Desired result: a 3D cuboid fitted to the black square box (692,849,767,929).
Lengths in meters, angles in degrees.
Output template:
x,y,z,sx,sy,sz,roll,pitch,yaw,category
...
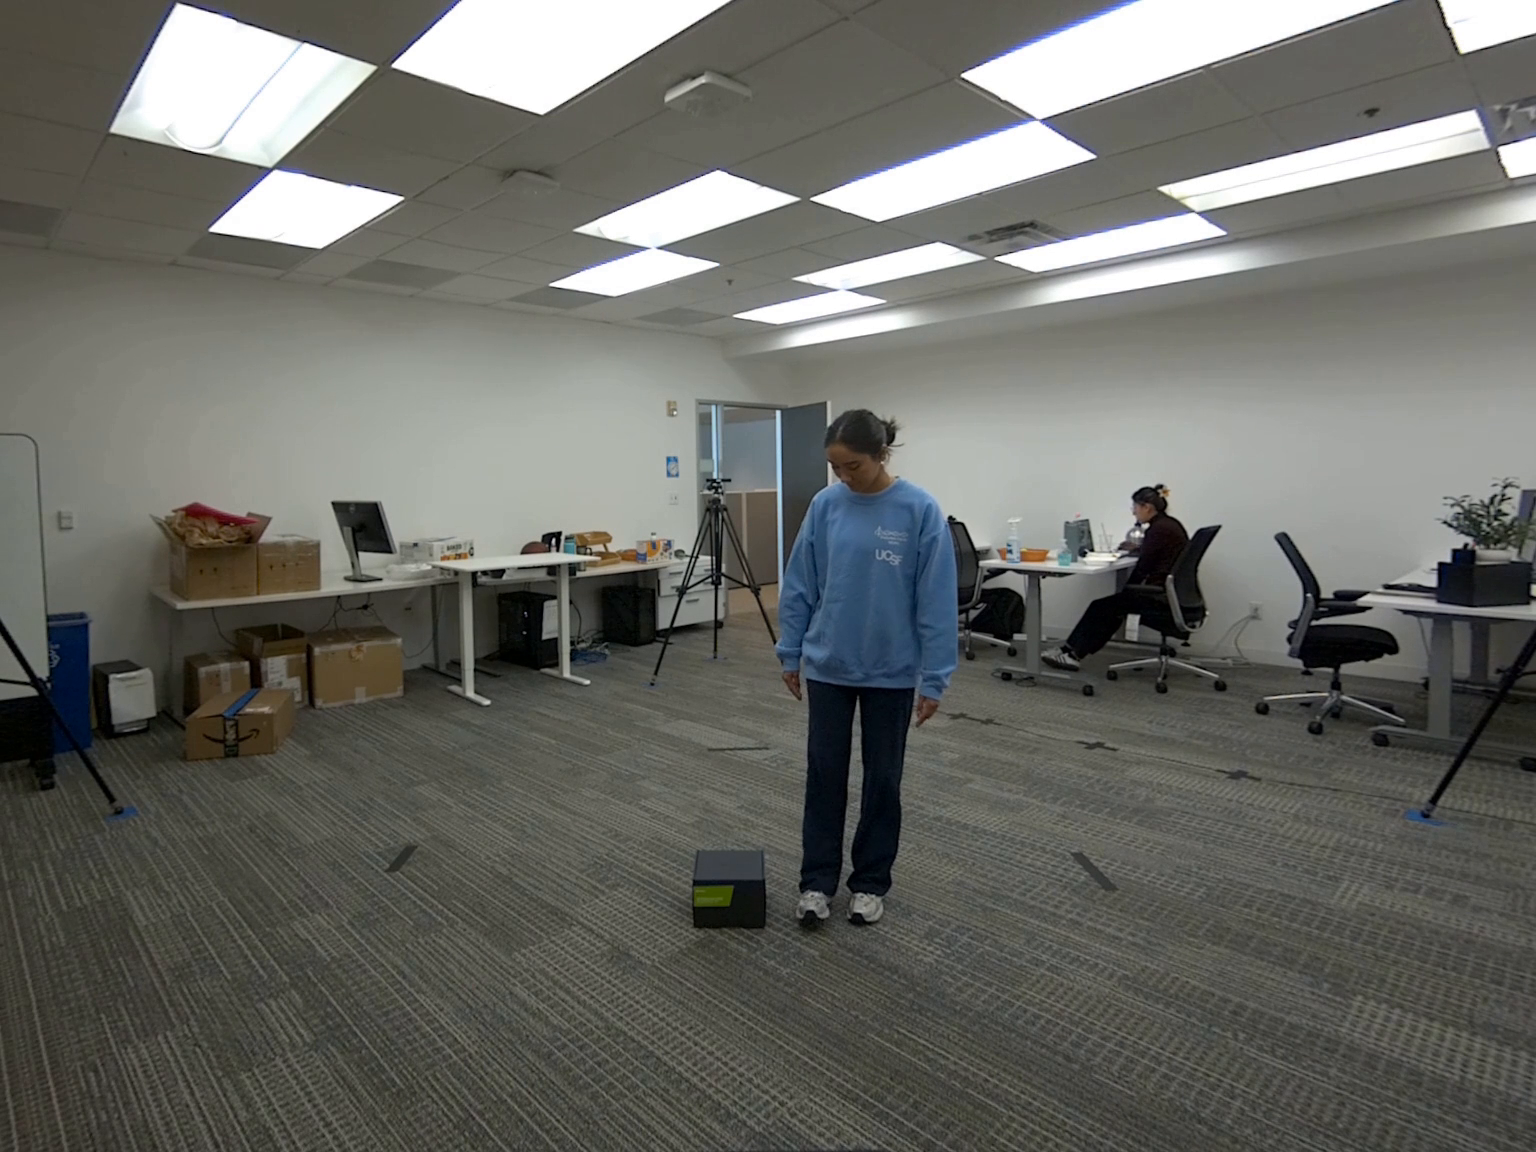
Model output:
x,y,z,sx,sy,sz,roll,pitch,yaw,category
-0.119,0.999,2.755,0.228,0.155,0.218,-1,7,0,black square box
